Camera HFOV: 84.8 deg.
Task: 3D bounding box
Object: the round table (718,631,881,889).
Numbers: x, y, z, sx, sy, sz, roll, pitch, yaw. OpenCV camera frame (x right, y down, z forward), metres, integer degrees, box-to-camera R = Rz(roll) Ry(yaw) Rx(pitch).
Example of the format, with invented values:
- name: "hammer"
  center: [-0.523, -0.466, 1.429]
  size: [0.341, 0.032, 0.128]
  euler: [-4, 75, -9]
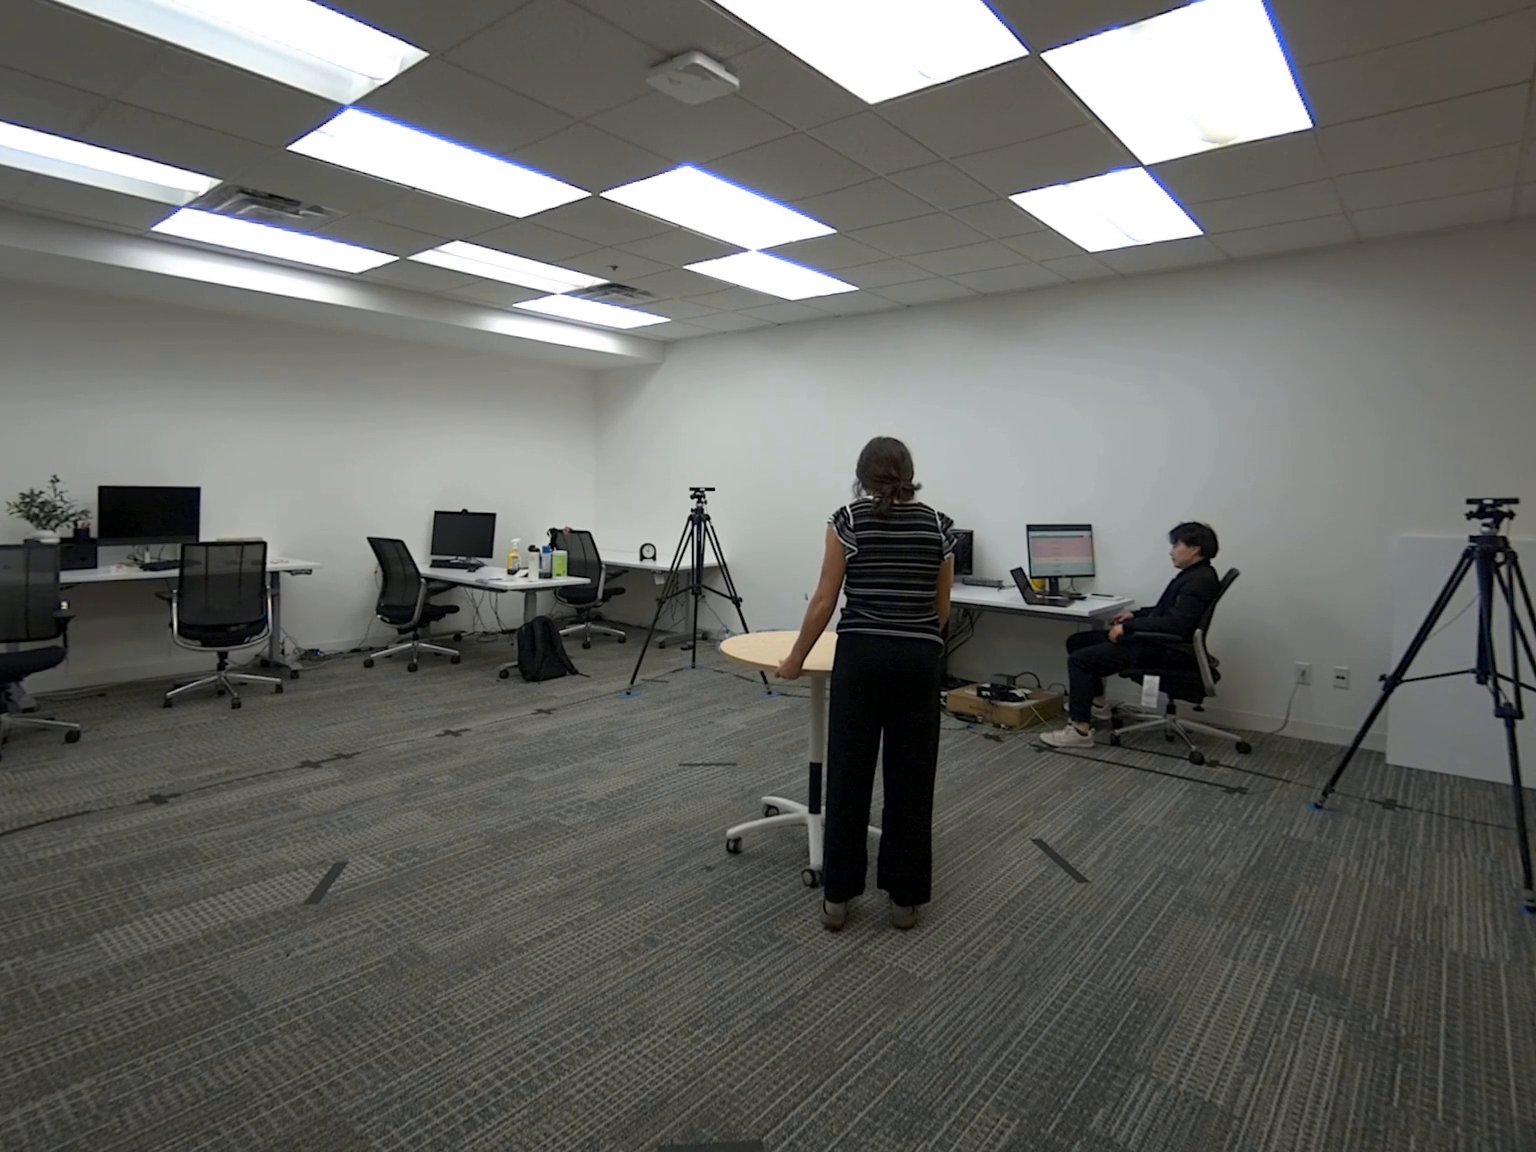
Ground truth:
- name: "round table"
  center: [0.170, 0.668, 3.302]
  size: [0.763, 0.791, 0.768]
  euler: [1, 5, -2]
